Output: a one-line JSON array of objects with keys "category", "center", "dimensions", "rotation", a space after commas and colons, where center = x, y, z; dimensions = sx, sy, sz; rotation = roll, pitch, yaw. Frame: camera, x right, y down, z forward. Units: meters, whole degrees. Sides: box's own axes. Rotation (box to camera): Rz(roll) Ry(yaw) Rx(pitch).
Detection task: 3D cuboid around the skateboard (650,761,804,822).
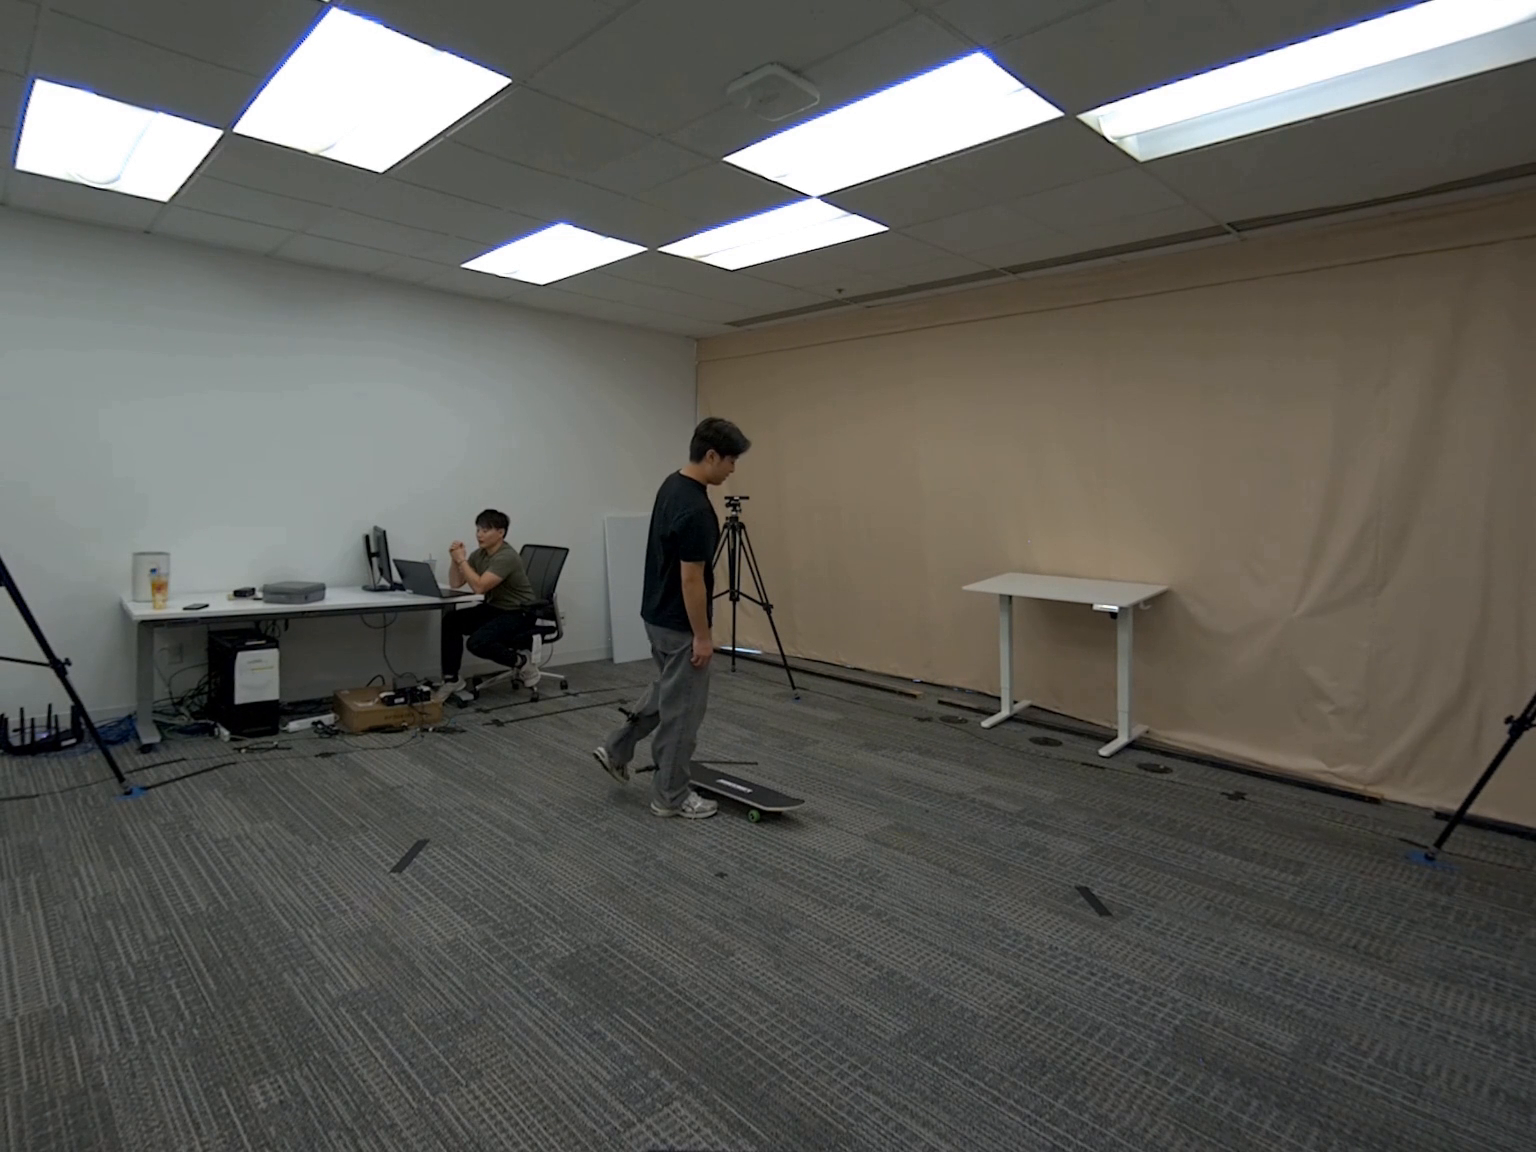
[{"category": "skateboard", "center": [-0.165, 0.985, 3.826], "dimensions": [0.806, 0.110, 0.189], "rotation": [7, 7, 43]}]
